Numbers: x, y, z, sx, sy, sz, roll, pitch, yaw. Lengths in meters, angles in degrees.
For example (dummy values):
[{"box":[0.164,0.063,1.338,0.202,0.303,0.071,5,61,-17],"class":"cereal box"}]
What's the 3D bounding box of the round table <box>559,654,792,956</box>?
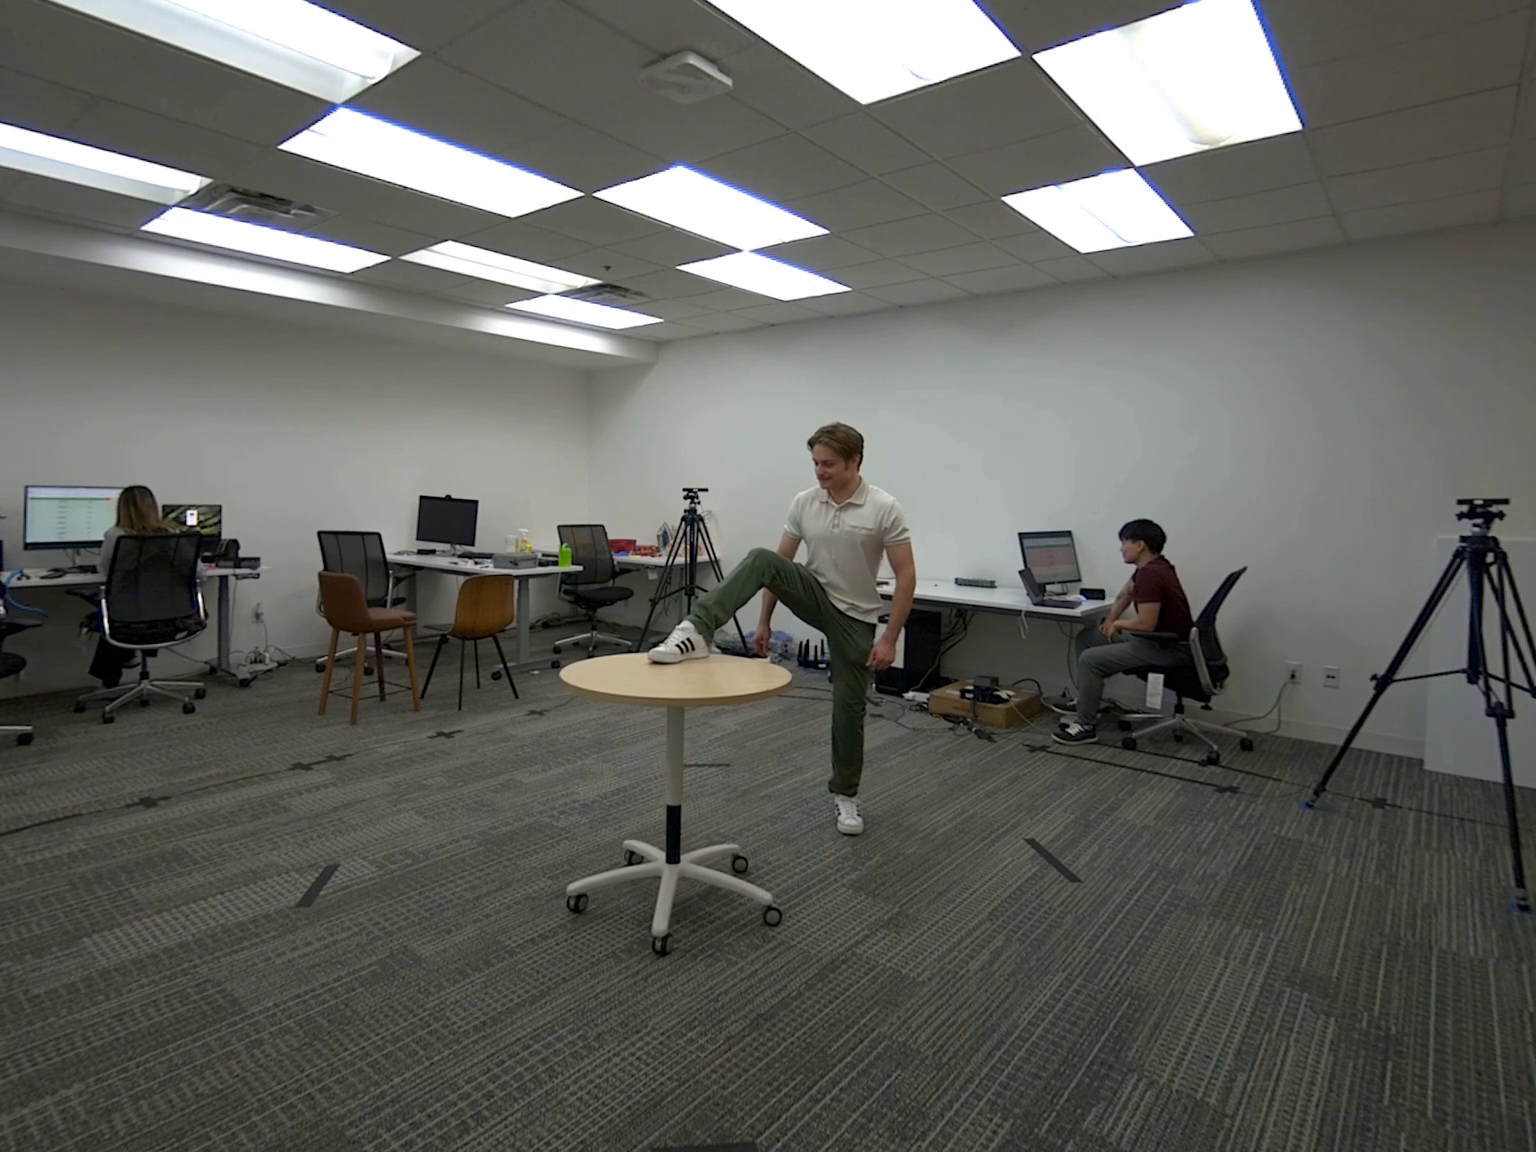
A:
[{"box":[-0.321,0.707,2.836,0.763,0.792,0.767,1,4,-2],"class":"round table"}]
